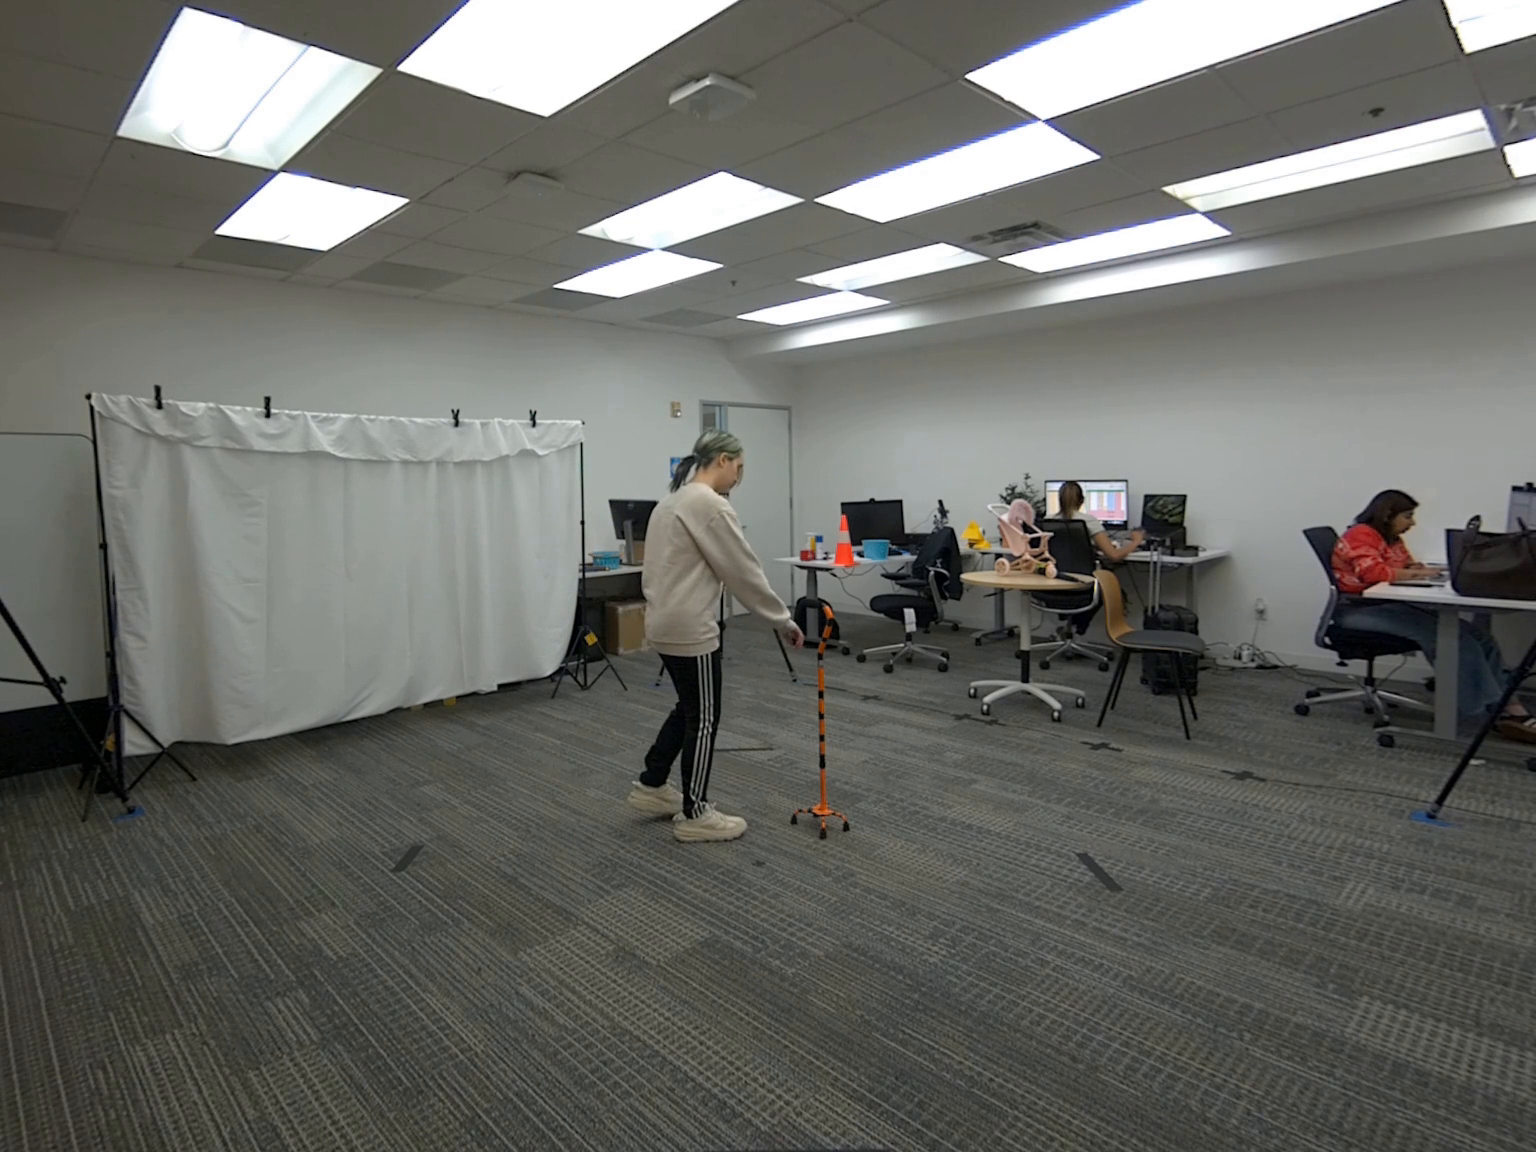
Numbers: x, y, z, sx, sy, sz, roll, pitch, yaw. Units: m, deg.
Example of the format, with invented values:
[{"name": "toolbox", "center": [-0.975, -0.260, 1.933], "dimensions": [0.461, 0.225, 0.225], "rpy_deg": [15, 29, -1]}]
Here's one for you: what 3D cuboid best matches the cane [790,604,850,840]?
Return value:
[{"name": "cane", "center": [0.202, 0.555, 3.403], "dimensions": [0.148, 0.905, 0.212], "rpy_deg": [-4, 4, -36]}]
